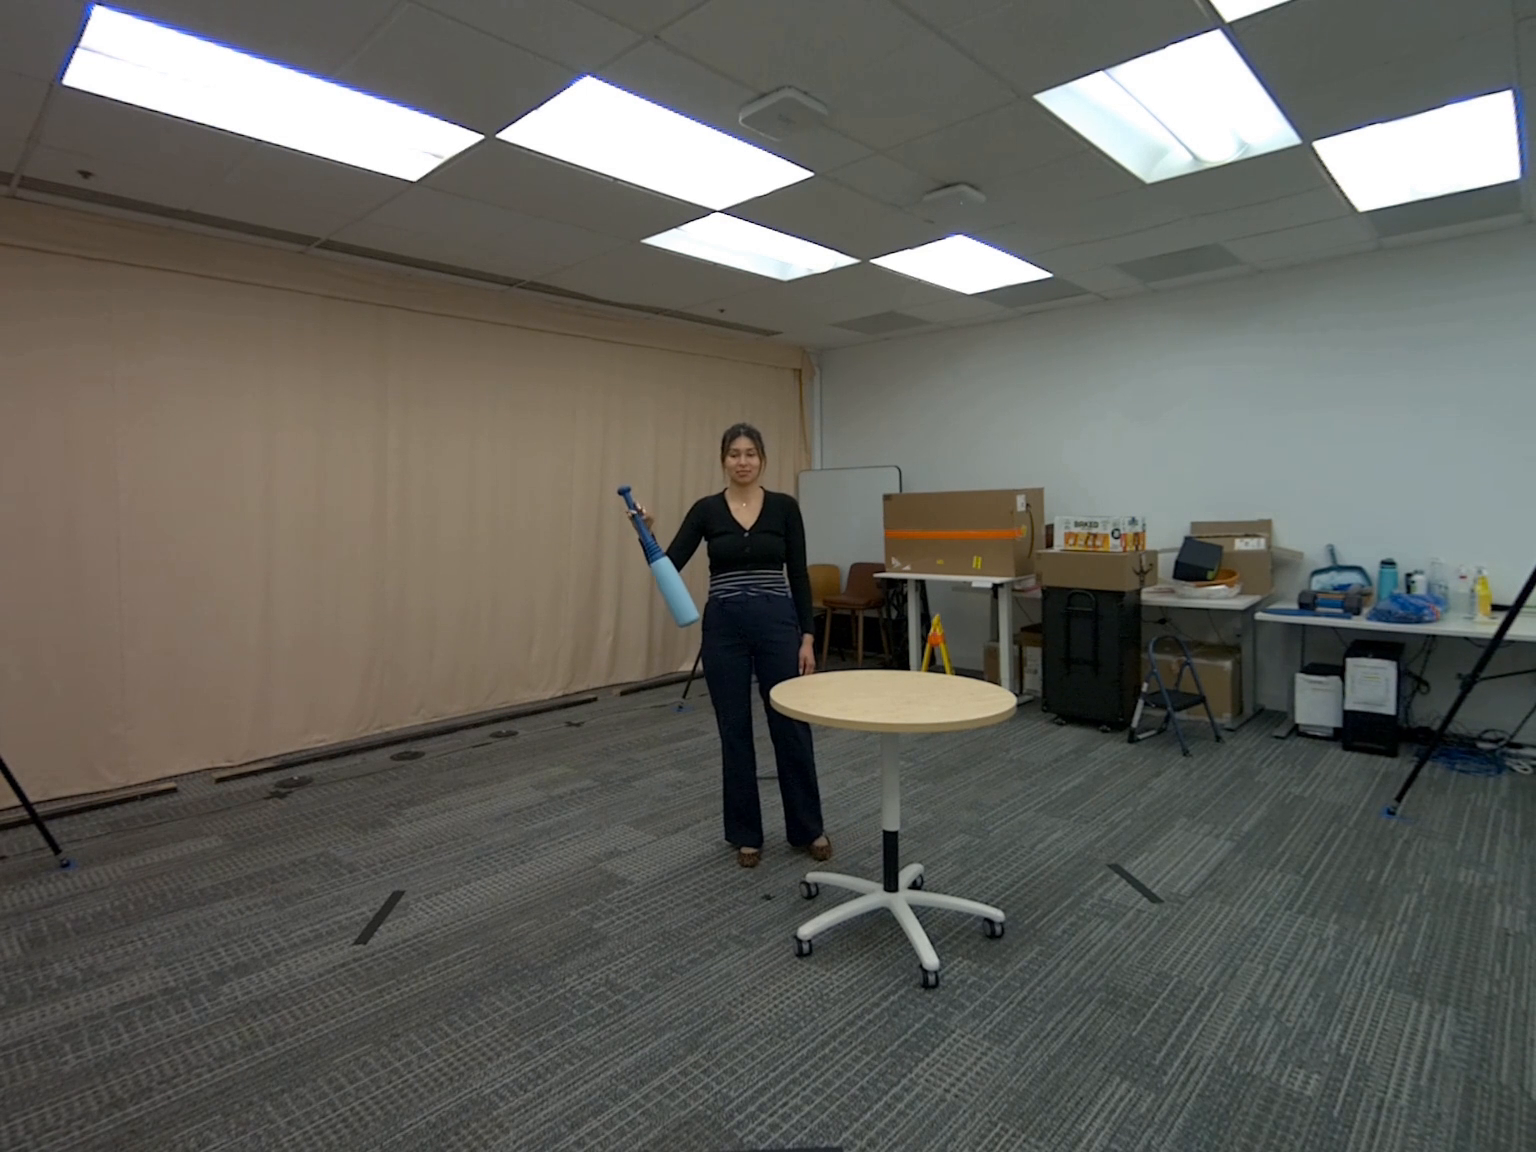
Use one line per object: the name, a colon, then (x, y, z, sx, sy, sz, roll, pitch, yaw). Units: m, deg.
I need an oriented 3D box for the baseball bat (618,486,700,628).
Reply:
baseball bat: (-0.407, -0.070, 2.988, 0.089, 0.545, 0.089, -26, -4, -3)
